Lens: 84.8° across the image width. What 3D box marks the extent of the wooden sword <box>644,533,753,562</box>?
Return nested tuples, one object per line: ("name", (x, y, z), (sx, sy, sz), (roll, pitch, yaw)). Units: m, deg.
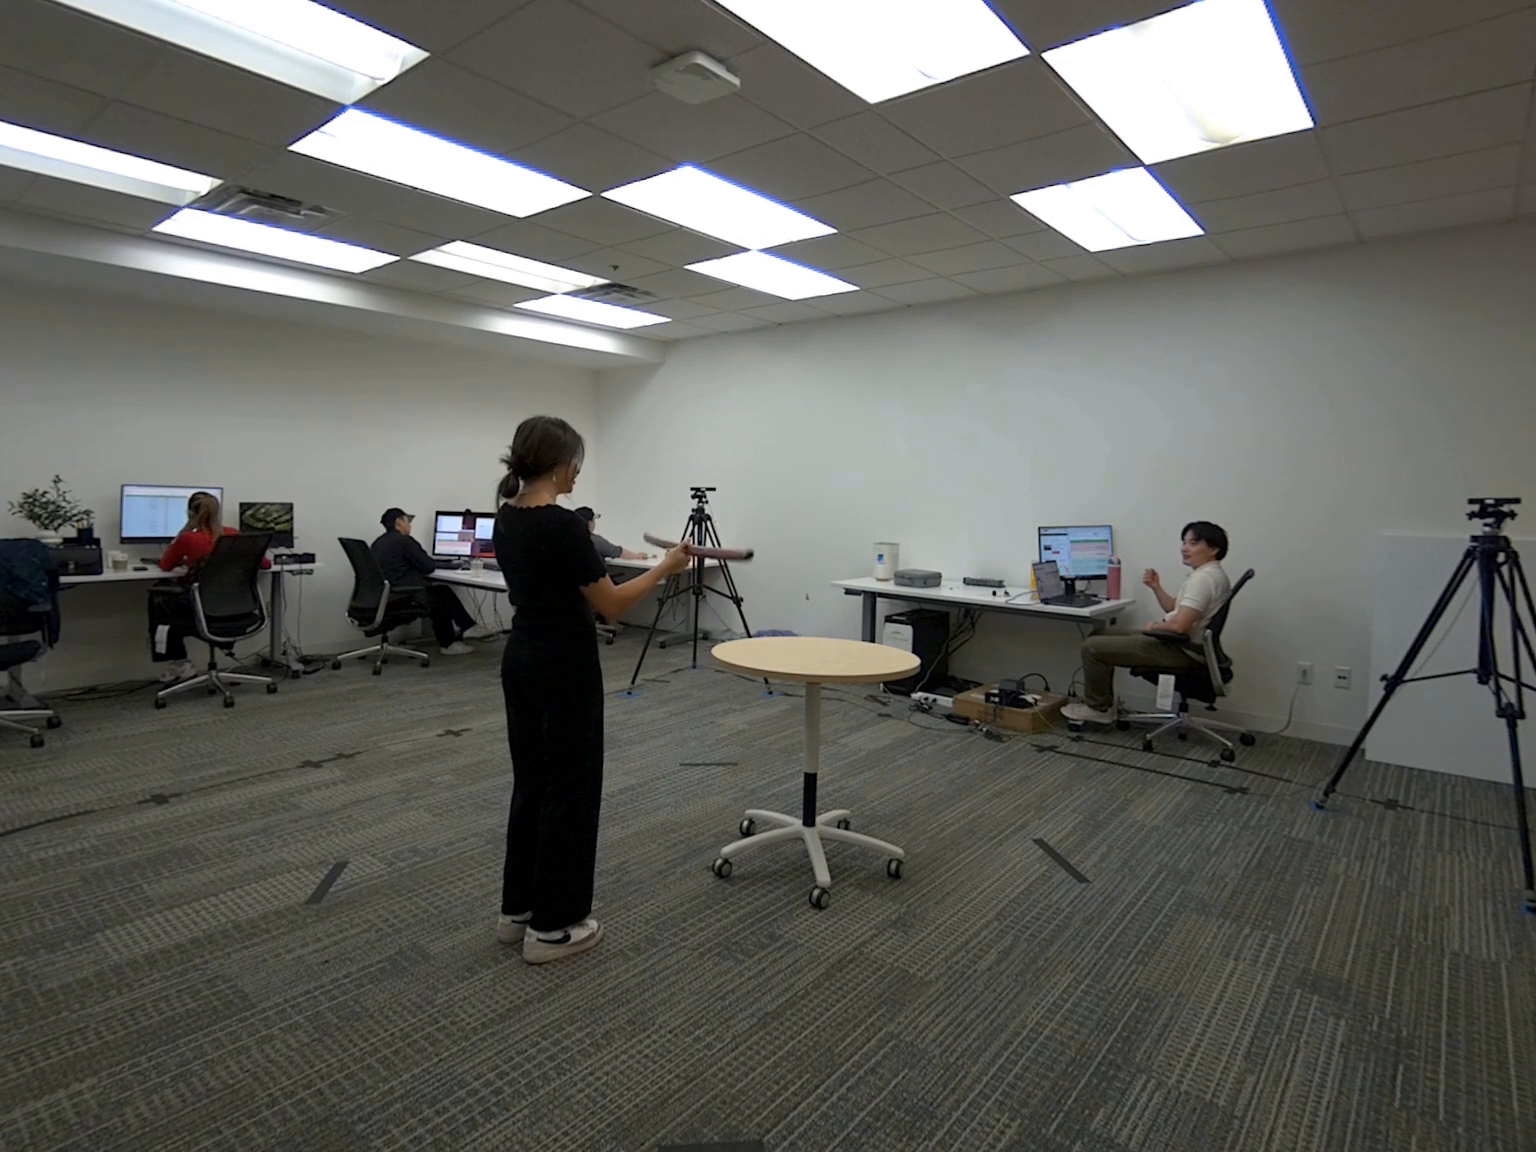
("wooden sword", (-0.270, -0.082, 2.665), (0.023, 0.051, 1.049), (19, -2, -22))
